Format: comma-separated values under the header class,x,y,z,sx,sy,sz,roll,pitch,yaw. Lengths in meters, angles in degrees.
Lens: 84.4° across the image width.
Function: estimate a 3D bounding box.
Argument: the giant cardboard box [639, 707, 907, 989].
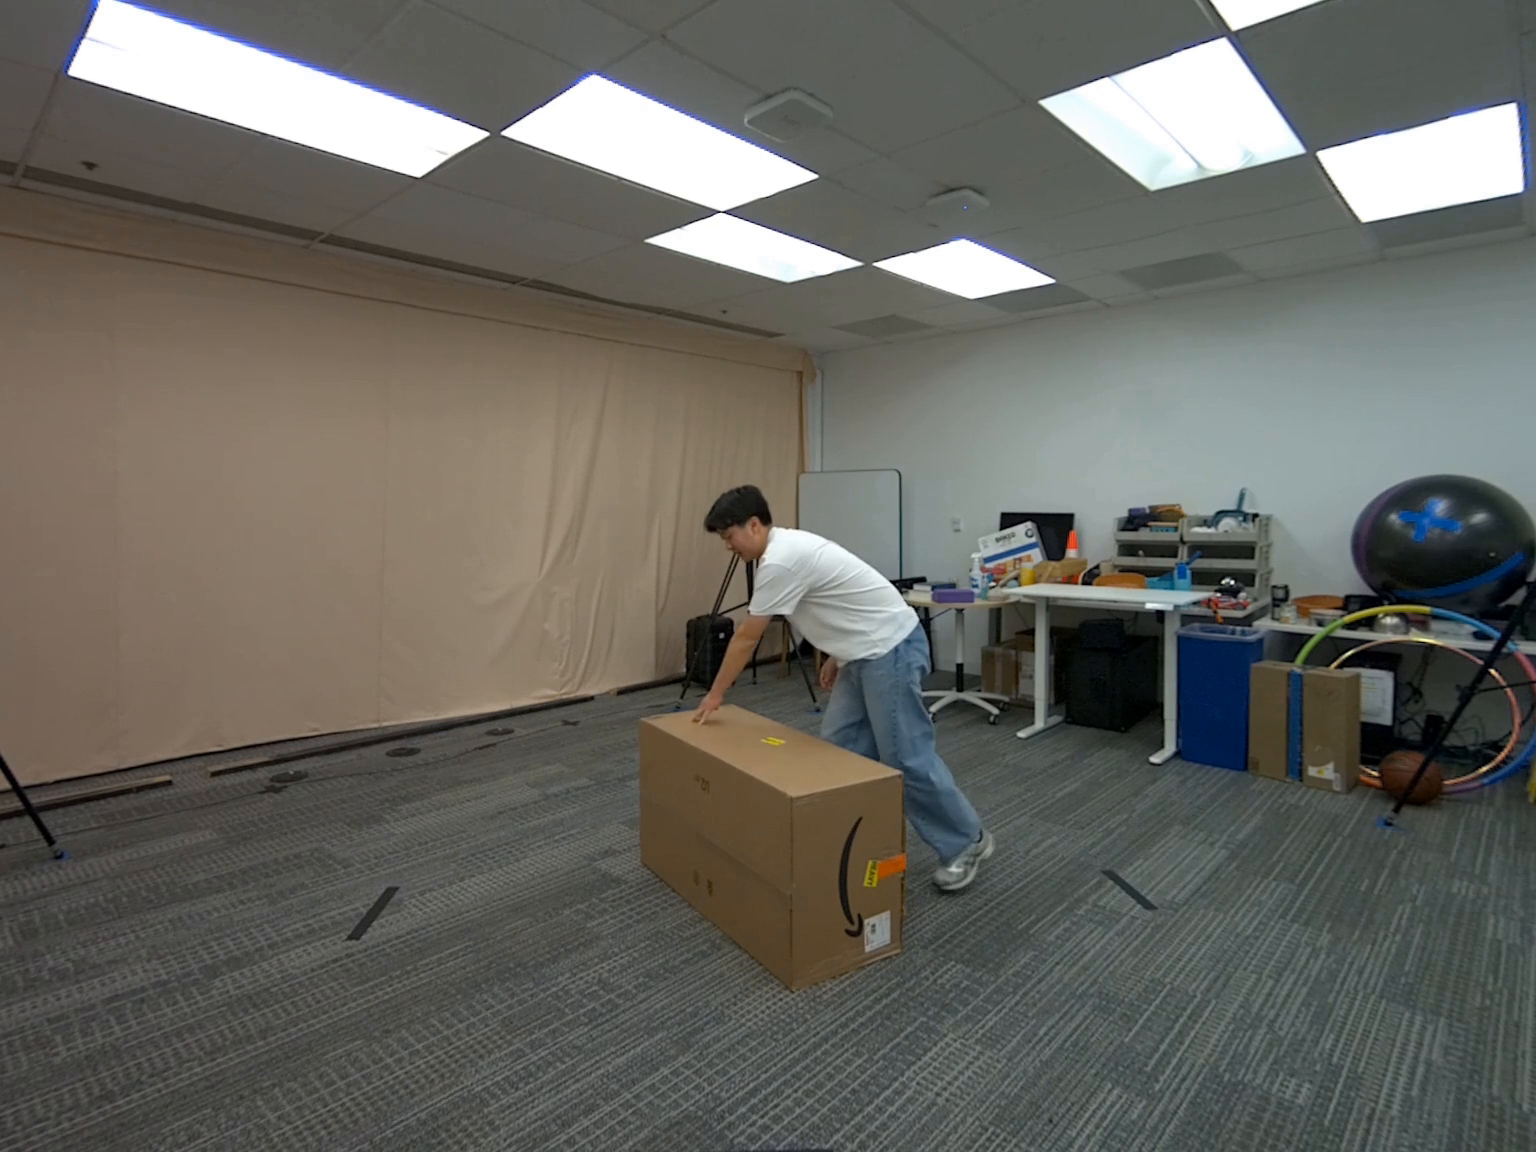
class,x,y,z,sx,sy,sz,roll,pitch,yaw
giant cardboard box,-0.039,0.861,2.939,0.414,0.576,1.057,-2,5,-32
